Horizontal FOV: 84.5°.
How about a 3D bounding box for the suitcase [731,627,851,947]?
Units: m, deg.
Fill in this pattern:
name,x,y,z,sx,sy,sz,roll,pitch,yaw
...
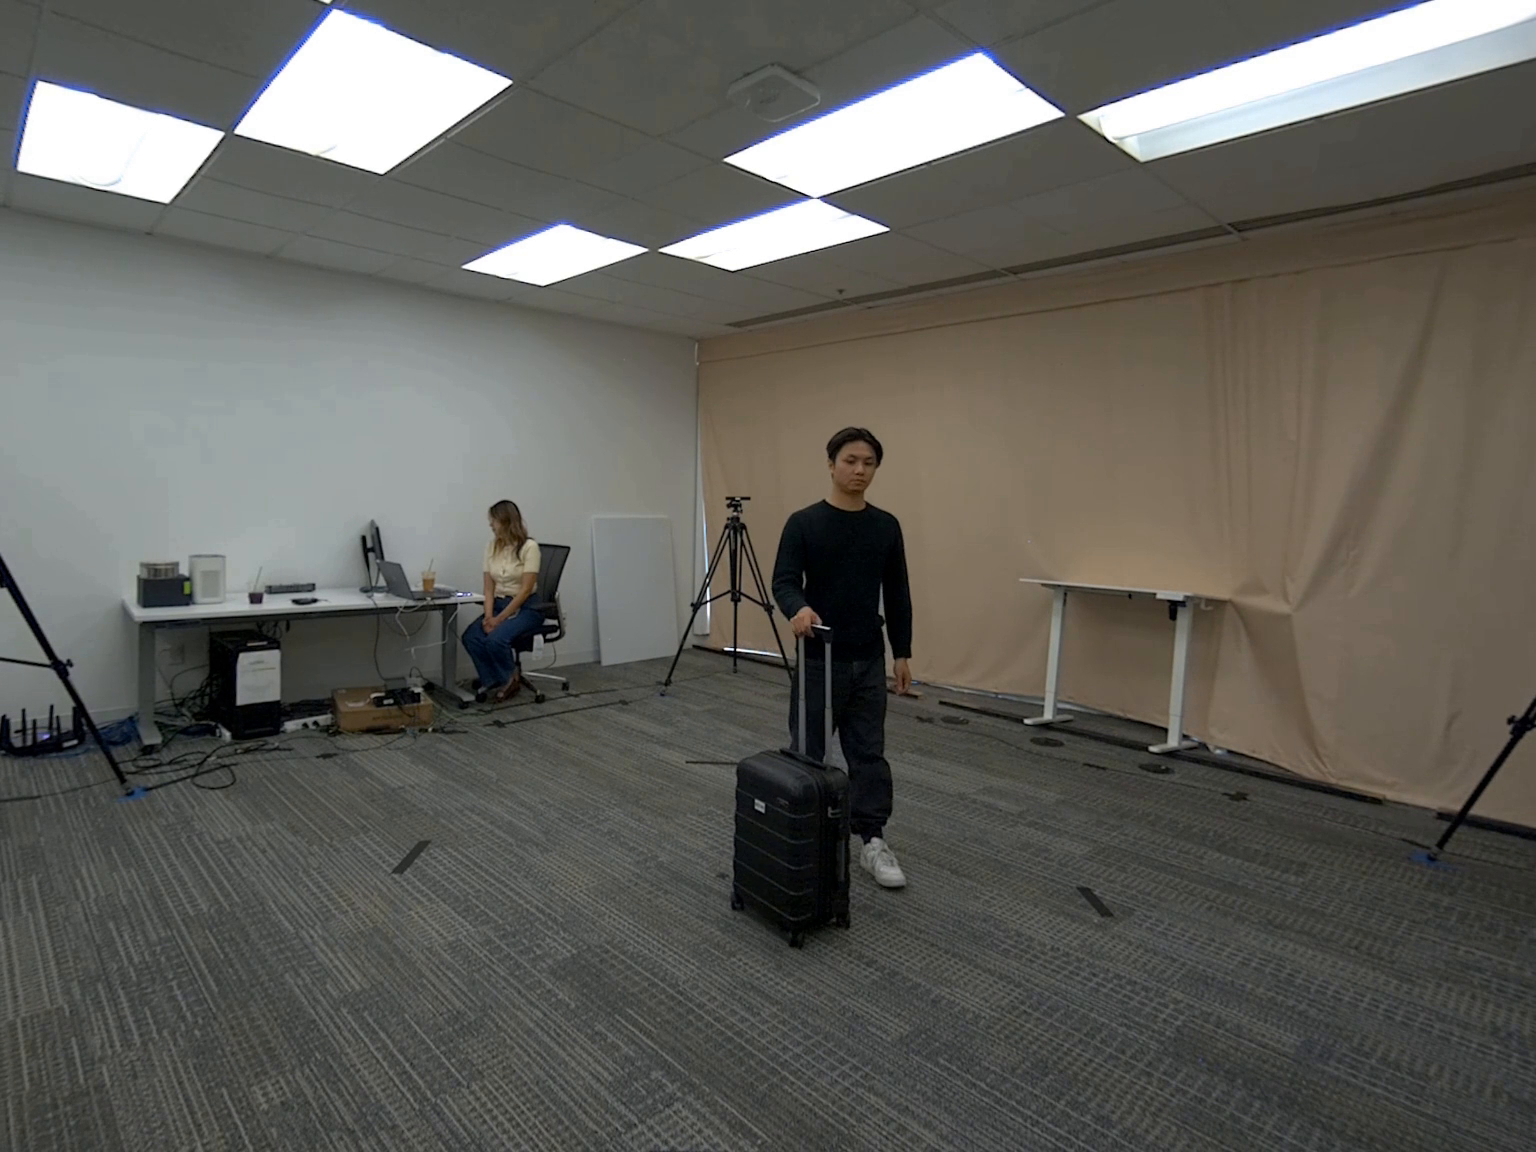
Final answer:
name,x,y,z,sx,sy,sz,roll,pitch,yaw
suitcase,0.063,0.670,2.745,0.252,0.974,0.393,-4,7,-34
